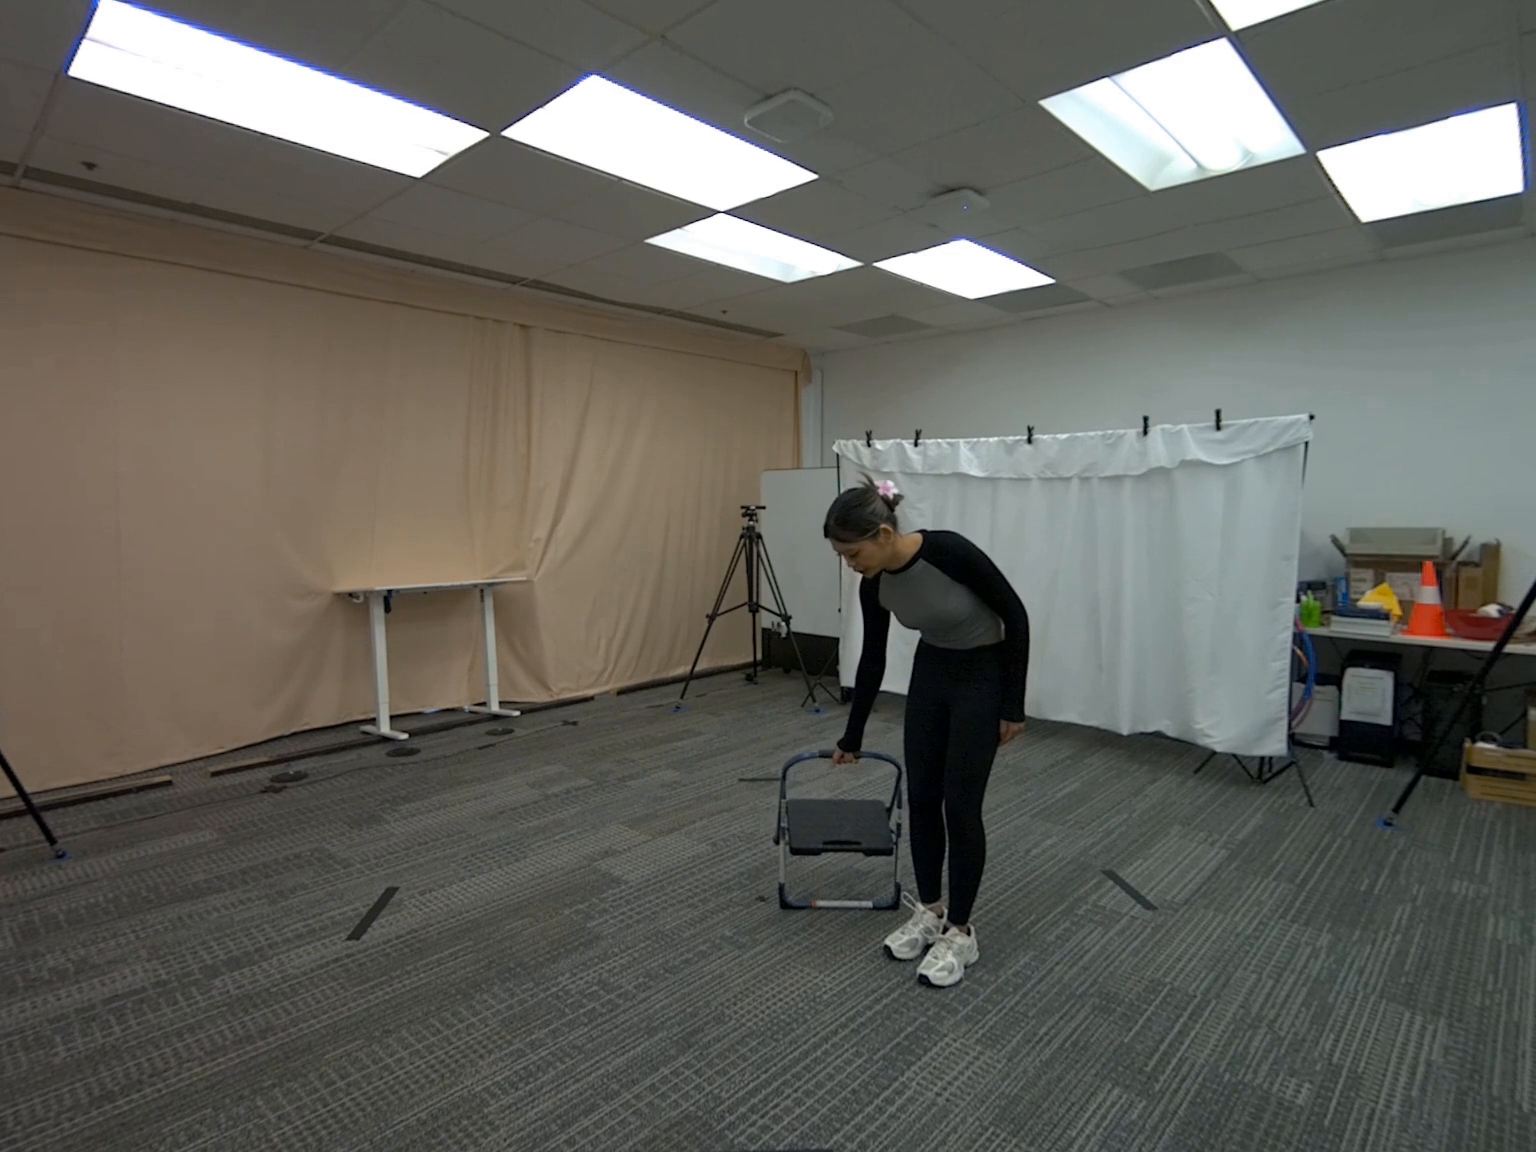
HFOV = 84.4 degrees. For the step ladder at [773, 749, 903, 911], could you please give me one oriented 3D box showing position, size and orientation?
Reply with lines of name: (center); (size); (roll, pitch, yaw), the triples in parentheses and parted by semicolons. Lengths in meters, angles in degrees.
step ladder: (0.244, 0.812, 2.932); (0.431, 0.597, 0.354); (0, 26, -1)
